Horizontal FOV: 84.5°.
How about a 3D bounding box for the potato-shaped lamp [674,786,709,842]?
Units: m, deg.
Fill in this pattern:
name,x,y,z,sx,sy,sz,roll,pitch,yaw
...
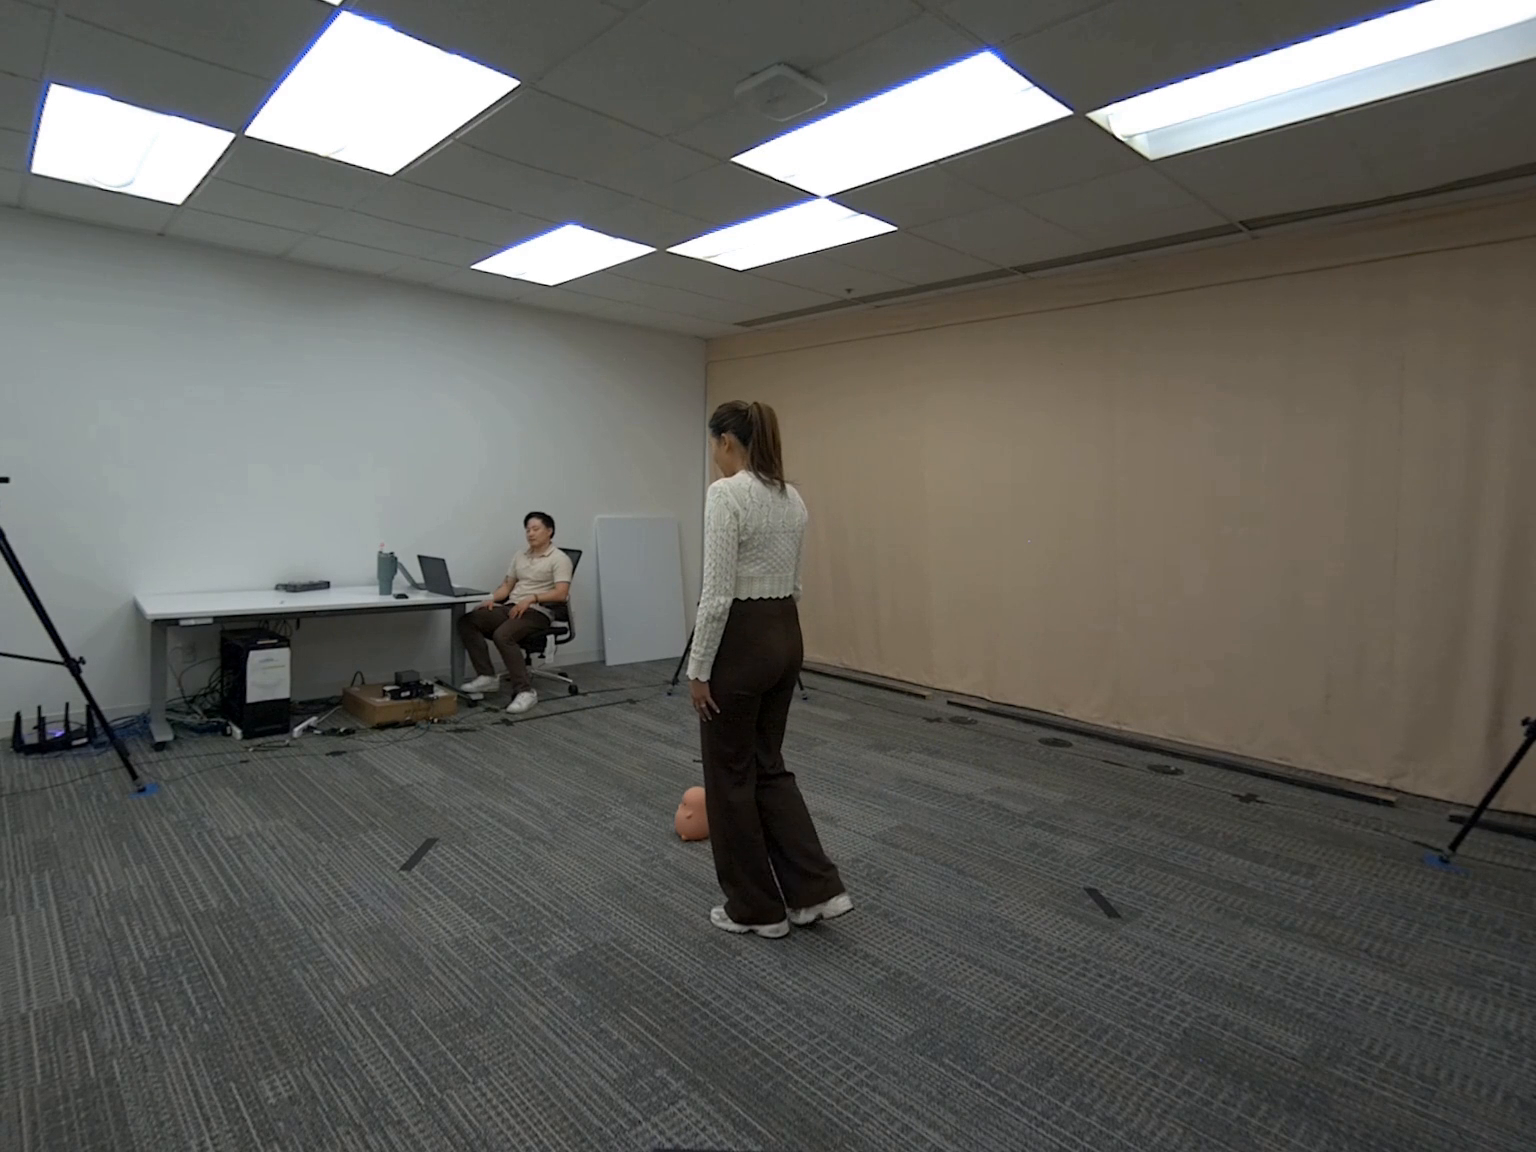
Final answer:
name,x,y,z,sx,sy,sz,roll,pitch,yaw
potato-shaped lamp,-0.304,0.963,3.454,0.169,0.198,0.167,5,3,-19
